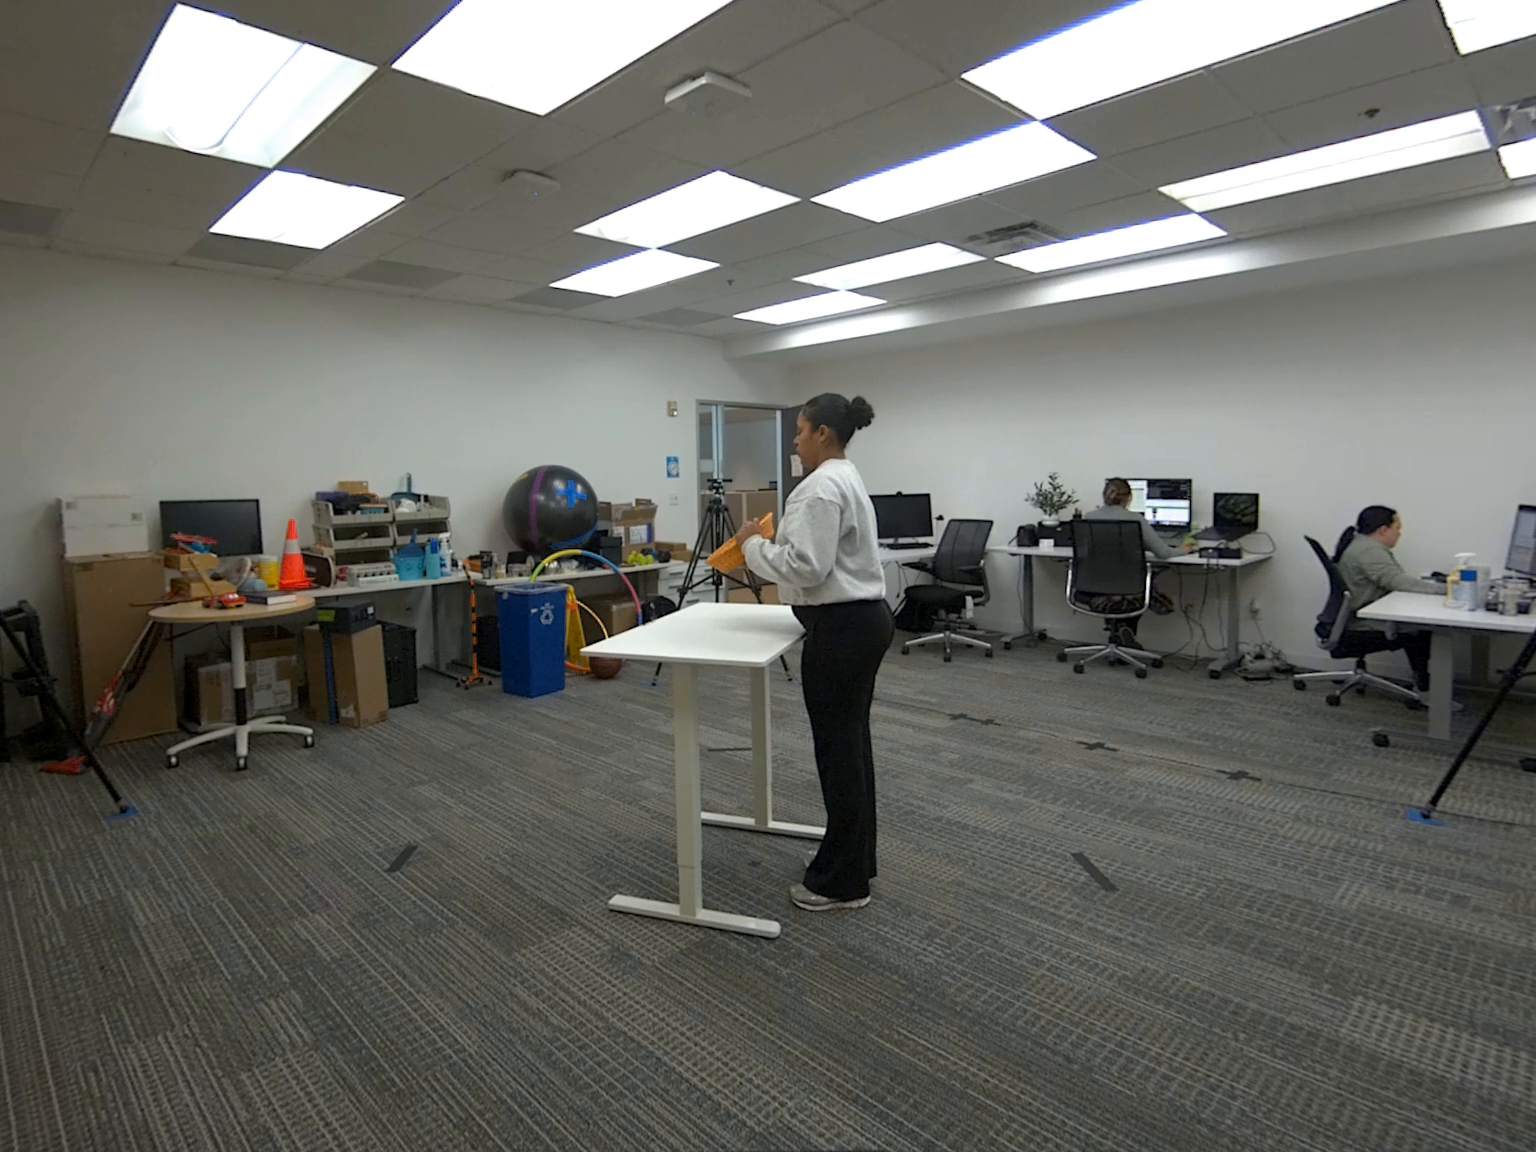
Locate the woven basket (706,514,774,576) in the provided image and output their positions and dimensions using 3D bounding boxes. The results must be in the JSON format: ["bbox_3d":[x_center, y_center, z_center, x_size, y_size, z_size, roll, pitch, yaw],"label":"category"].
[{"bbox_3d":[-0.072,-0.107,2.979,0.254,0.073,0.349,-33,6,27],"label":"woven basket"}]
